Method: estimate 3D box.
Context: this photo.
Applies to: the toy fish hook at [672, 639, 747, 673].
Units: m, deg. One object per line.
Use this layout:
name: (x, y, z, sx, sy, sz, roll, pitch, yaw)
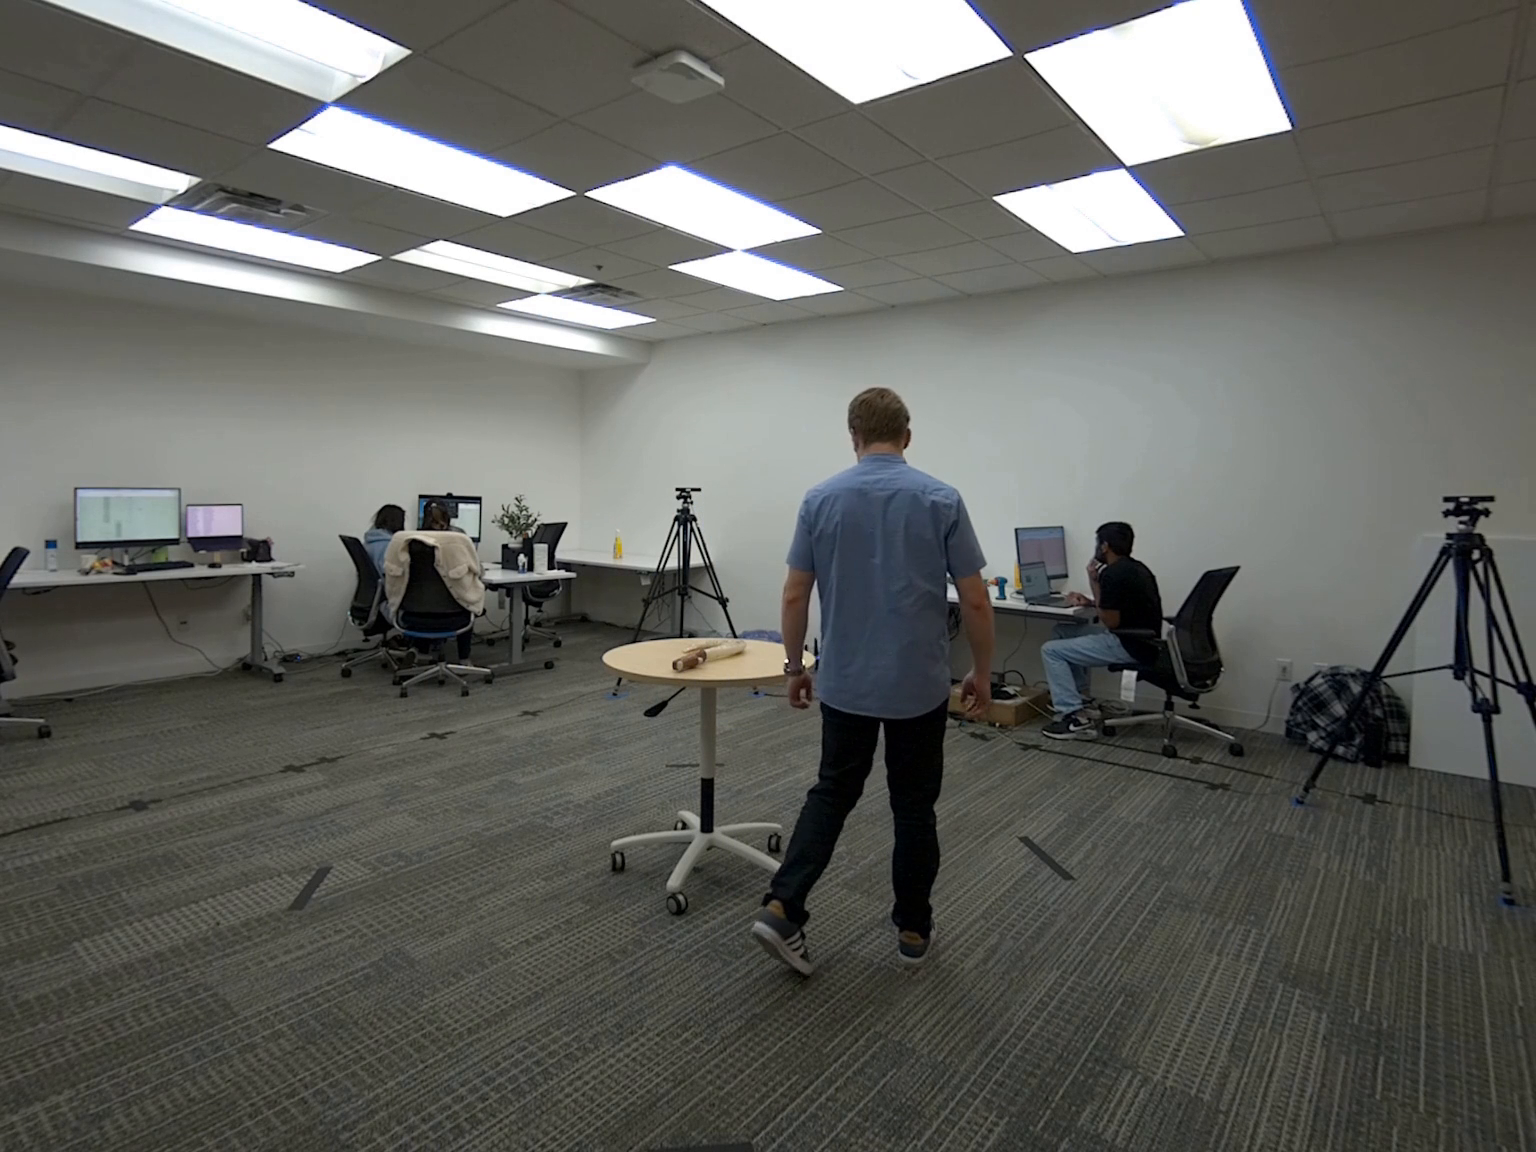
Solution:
toy fish hook: (-0.260, 0.280, 3.034, 0.230, 0.048, 0.495, -5, 2, 25)
